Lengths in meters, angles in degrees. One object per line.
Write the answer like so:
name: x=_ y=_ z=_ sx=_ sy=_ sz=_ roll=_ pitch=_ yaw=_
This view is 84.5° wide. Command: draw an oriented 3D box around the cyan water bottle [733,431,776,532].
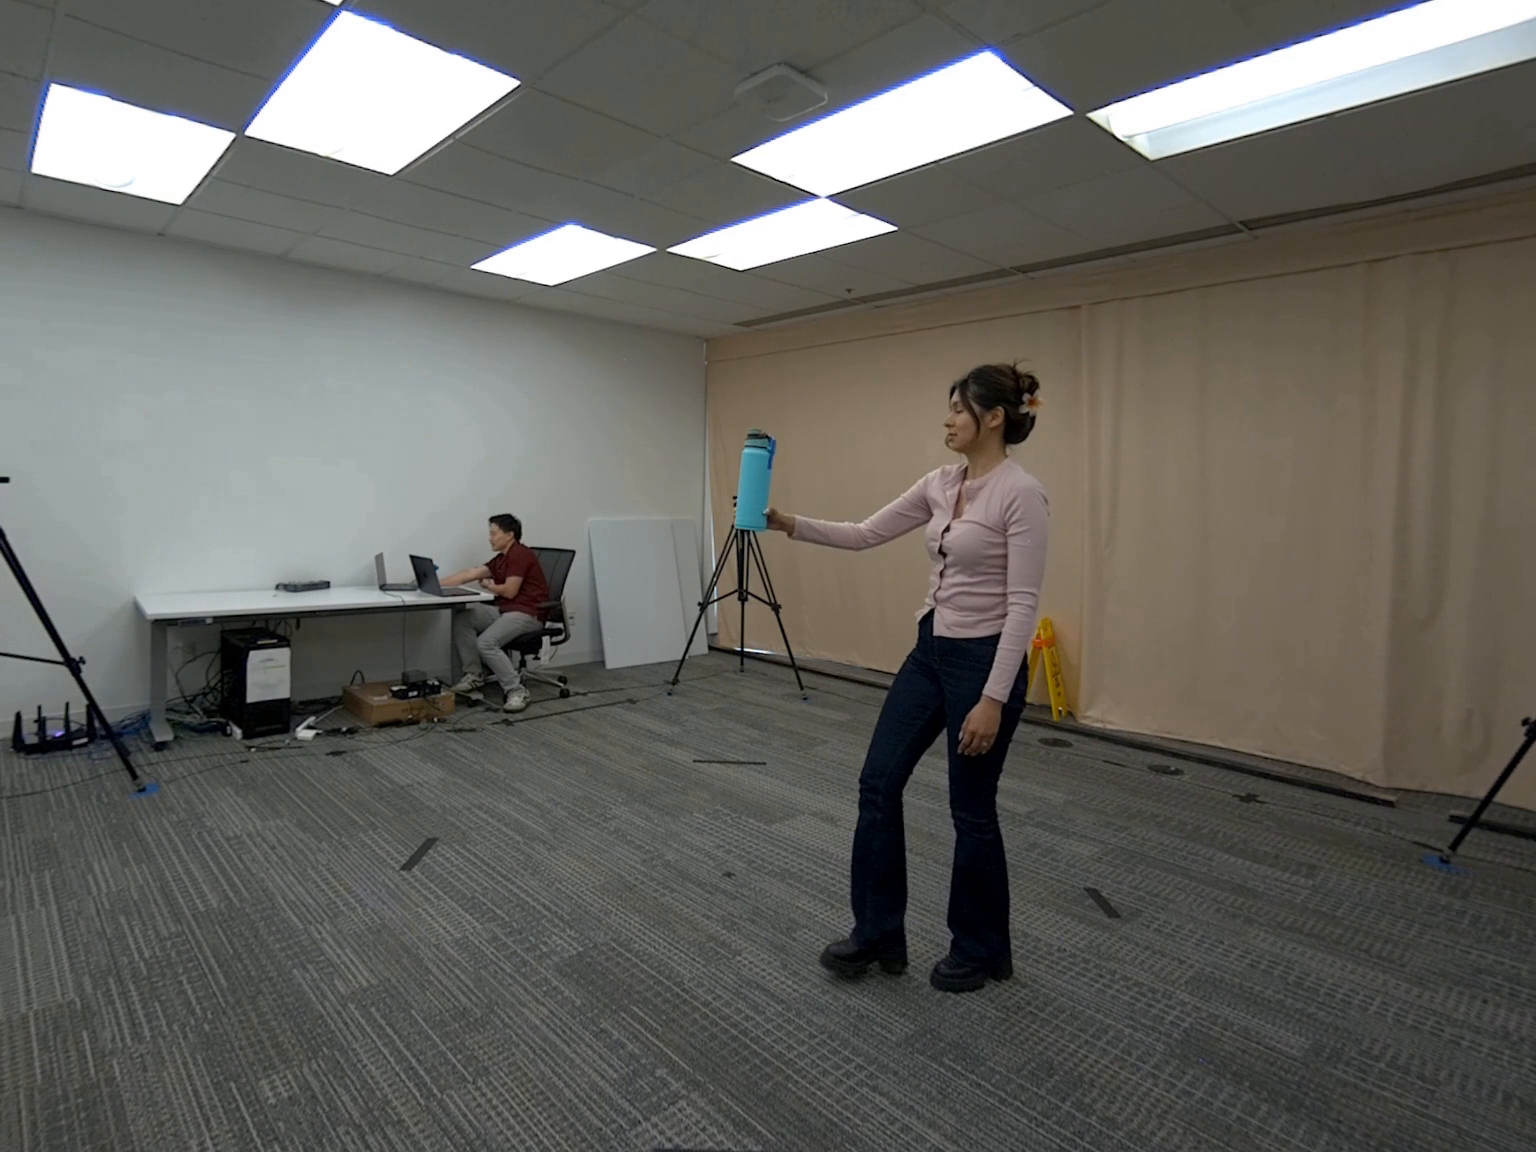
cyan water bottle: x=-0.033 y=-0.268 z=2.352 sx=0.092 sy=0.283 sz=0.092 roll=7 pitch=3 yaw=-2
